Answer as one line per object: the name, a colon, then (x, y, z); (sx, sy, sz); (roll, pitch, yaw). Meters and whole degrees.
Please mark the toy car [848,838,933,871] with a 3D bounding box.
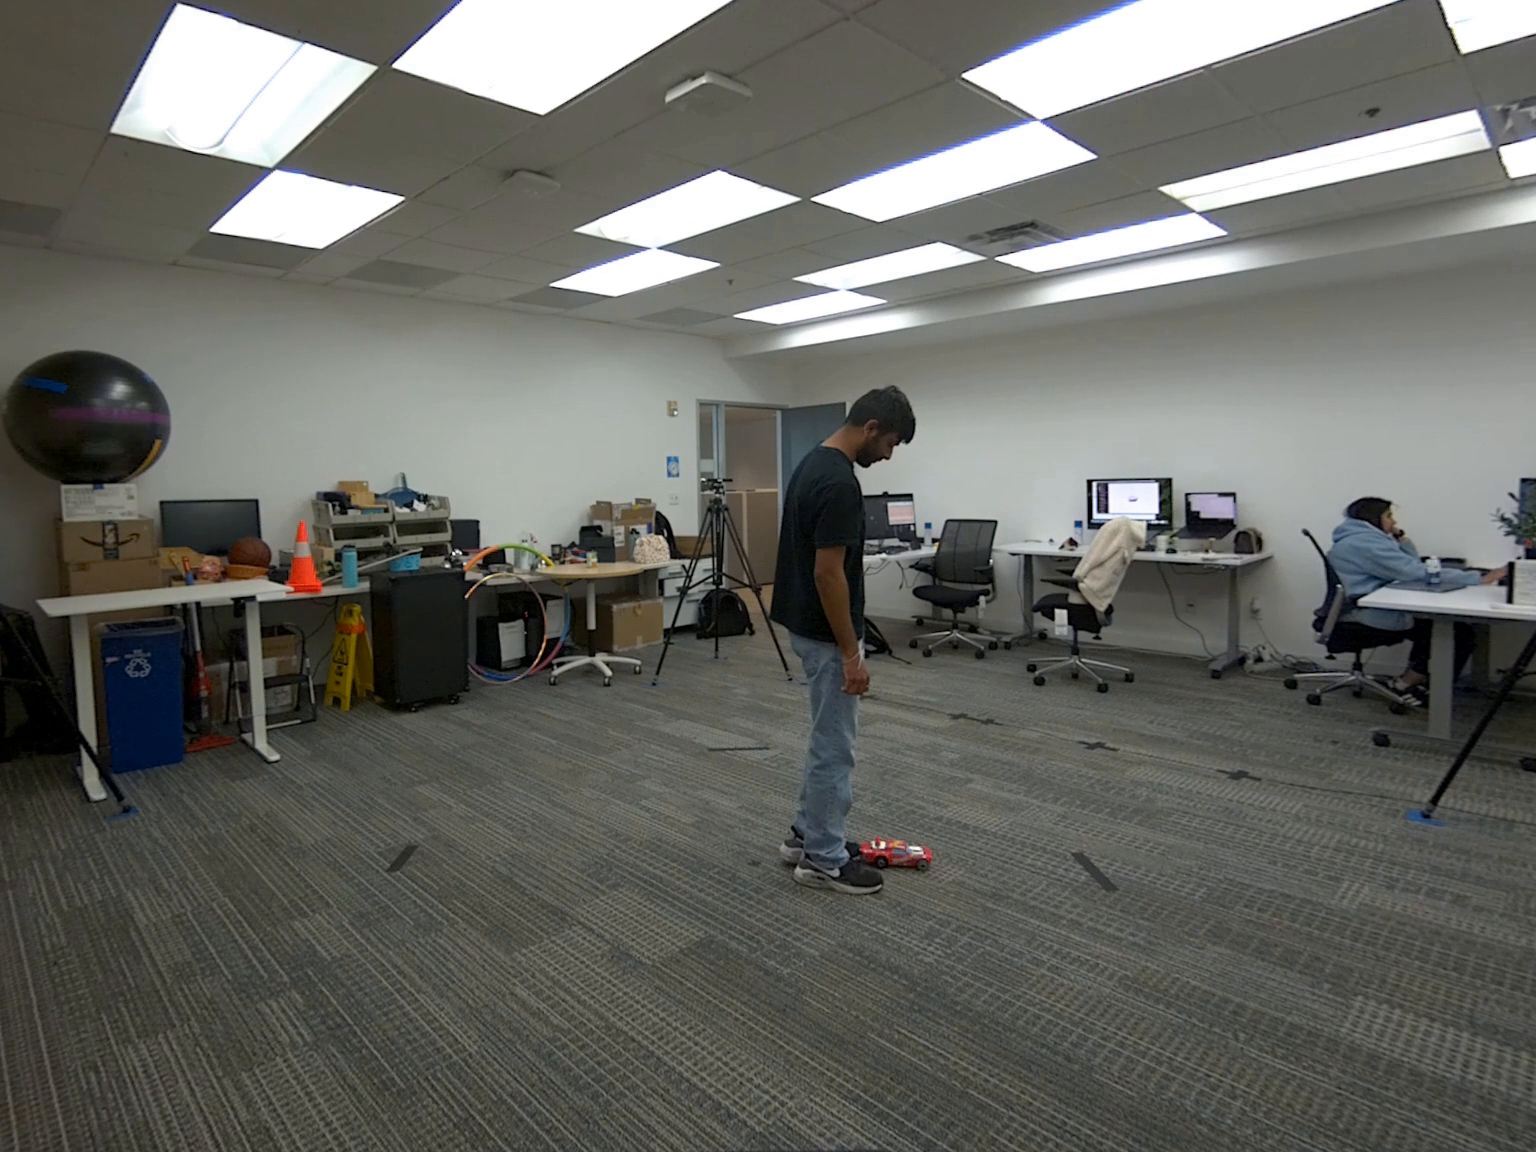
toy car: (0.455, 0.999, 3.079); (0.257, 0.083, 0.130); (12, 7, 7)
